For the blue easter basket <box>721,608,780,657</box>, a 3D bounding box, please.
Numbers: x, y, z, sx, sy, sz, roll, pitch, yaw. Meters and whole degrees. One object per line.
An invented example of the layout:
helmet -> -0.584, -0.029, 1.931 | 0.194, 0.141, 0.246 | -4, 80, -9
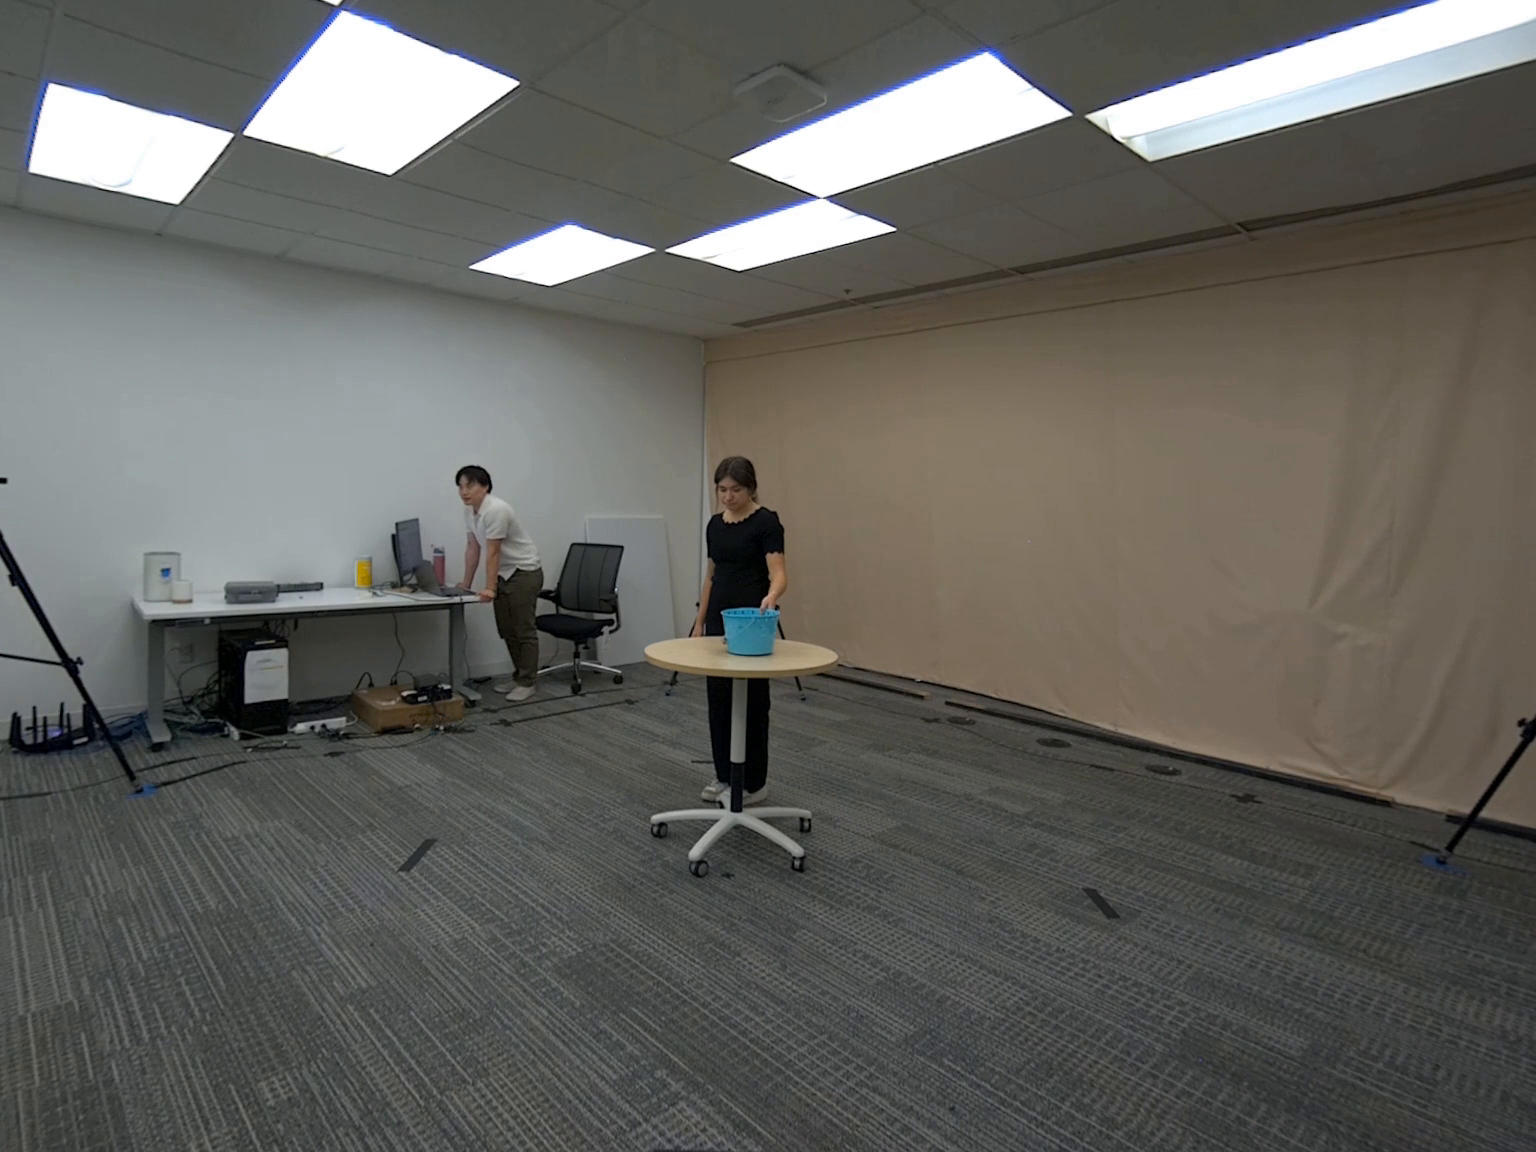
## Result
blue easter basket -> -0.085, 0.224, 3.330 | 0.243, 0.155, 0.244 | 0, 4, -1
